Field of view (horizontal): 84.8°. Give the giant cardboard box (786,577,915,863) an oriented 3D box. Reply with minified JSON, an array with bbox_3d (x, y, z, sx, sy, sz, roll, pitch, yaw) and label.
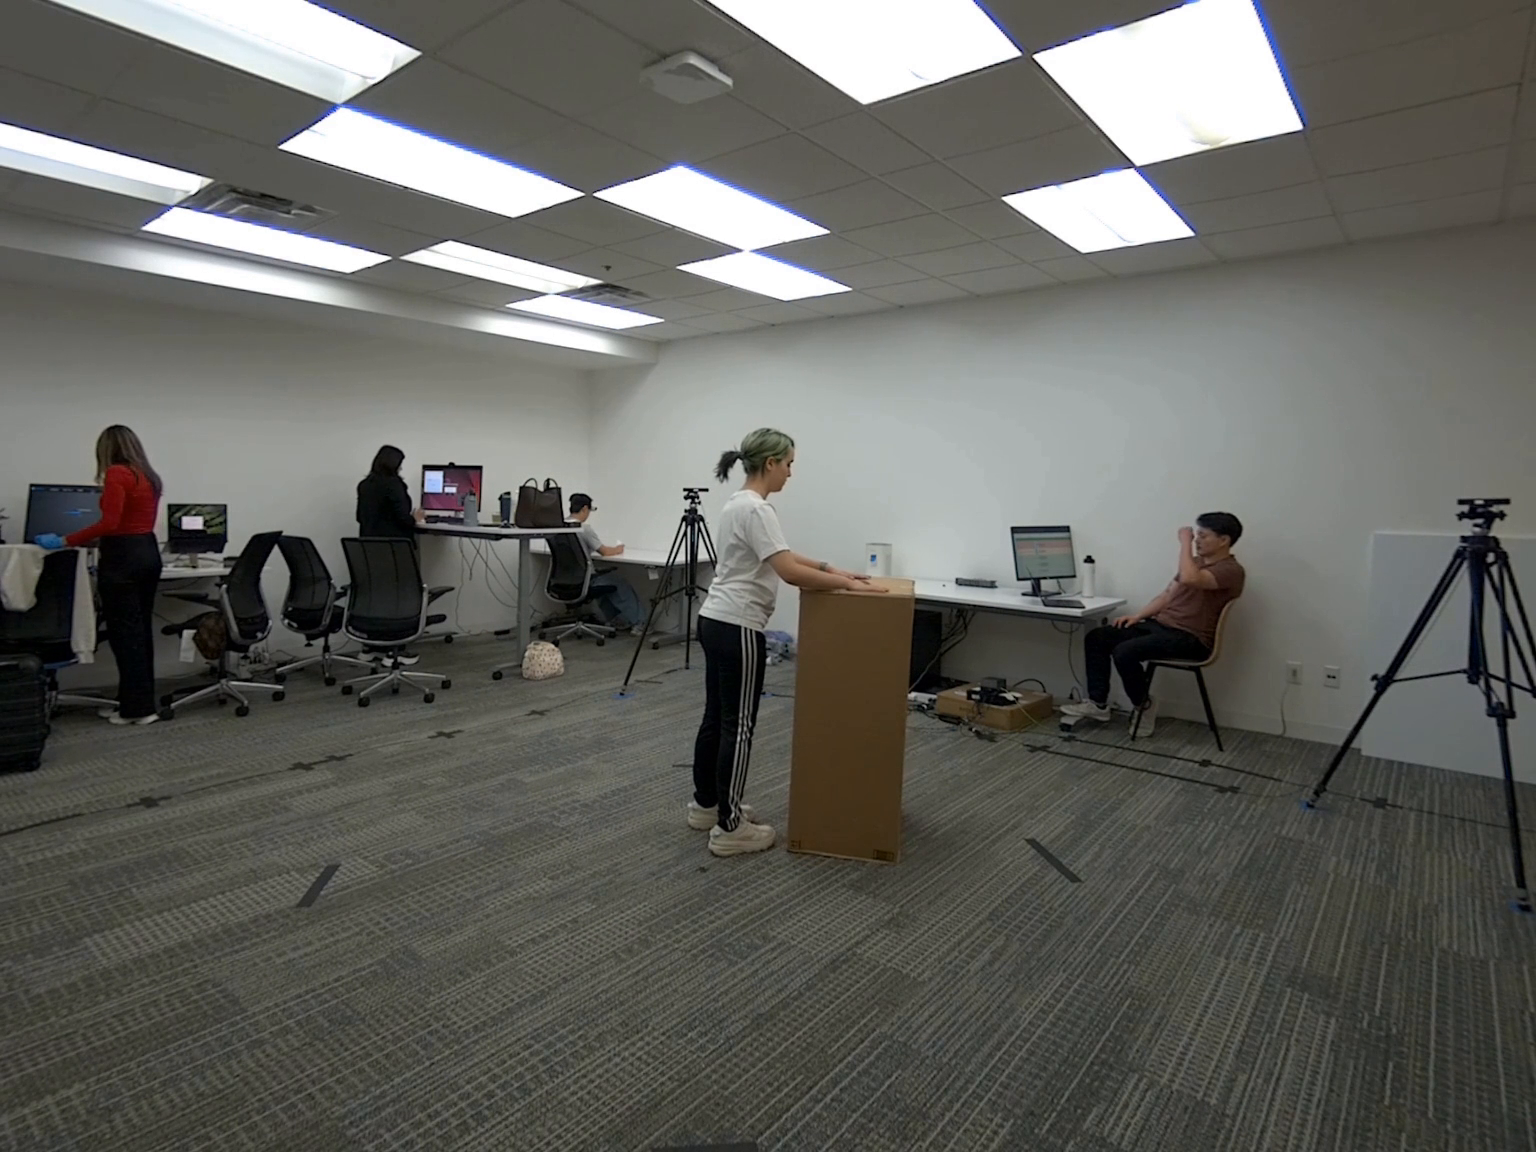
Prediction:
[{"bbox_3d":[0.337,0.539,3.478,0.452,1.023,0.579,4,5,9],"label":"giant cardboard box"}]
